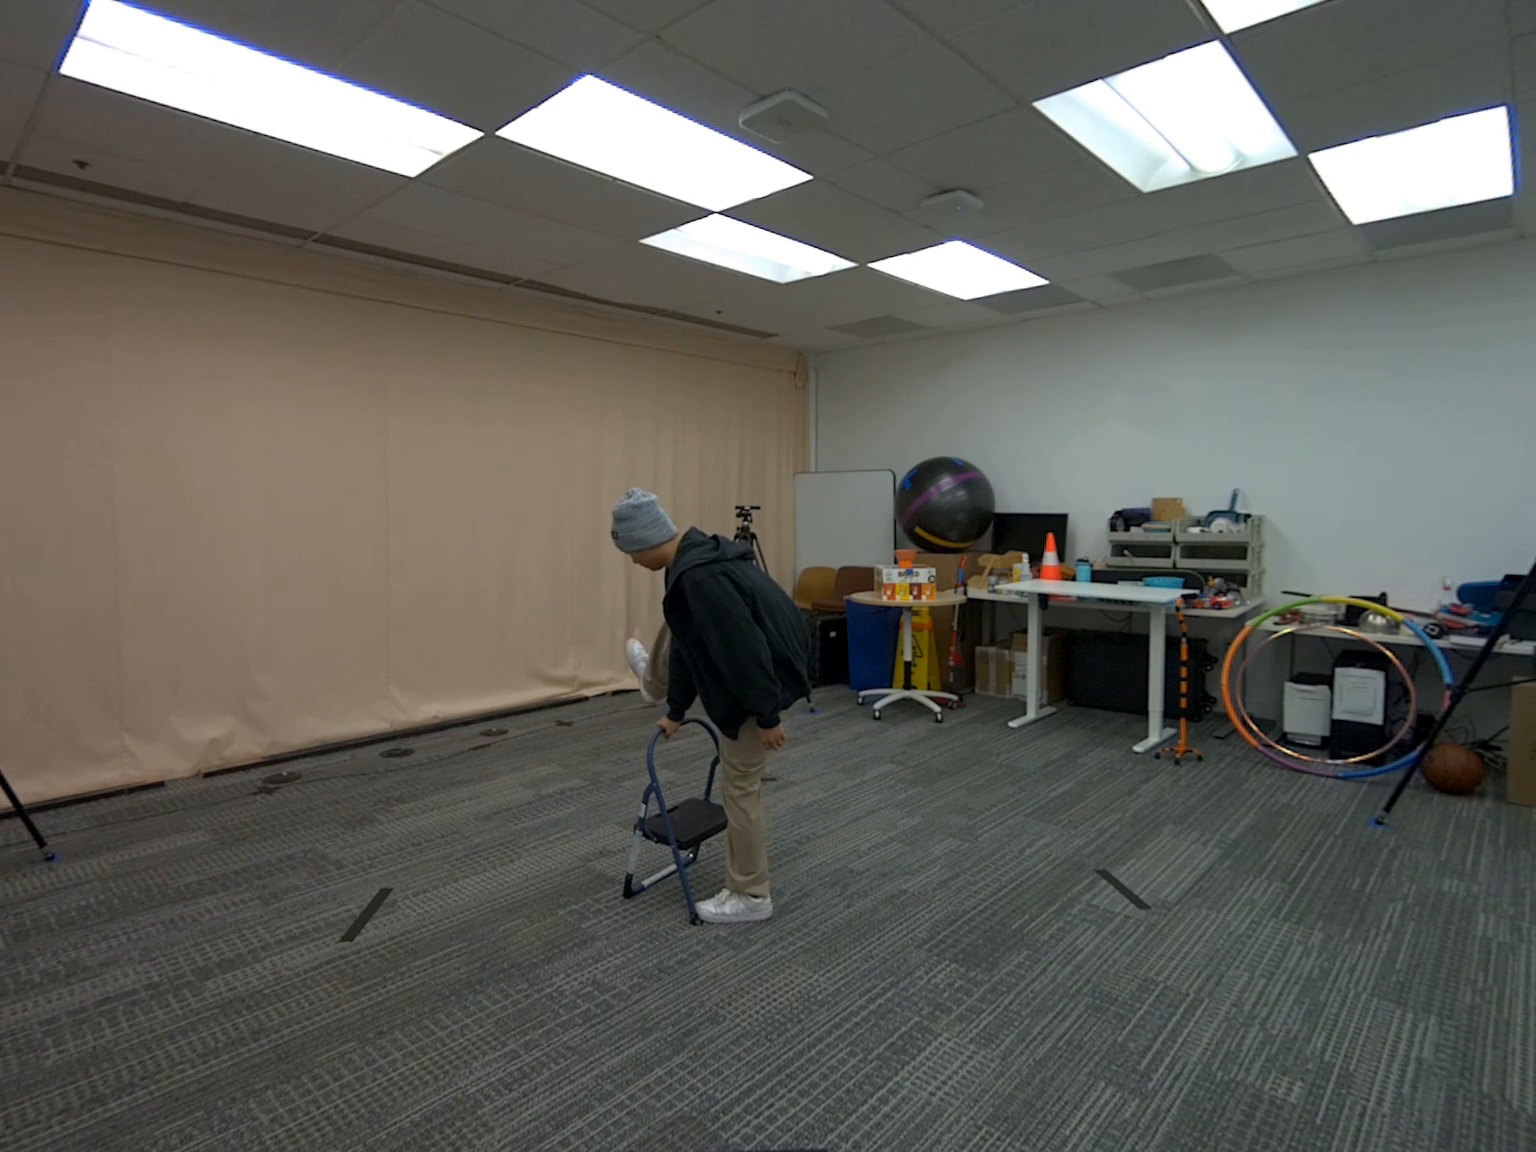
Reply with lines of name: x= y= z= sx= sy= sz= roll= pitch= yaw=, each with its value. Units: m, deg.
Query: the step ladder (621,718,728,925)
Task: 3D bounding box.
step ladder: x=-0.266 y=0.836 z=3.050 sx=0.360 sy=0.605 sz=0.418 roll=2 pitch=4 yaw=34
